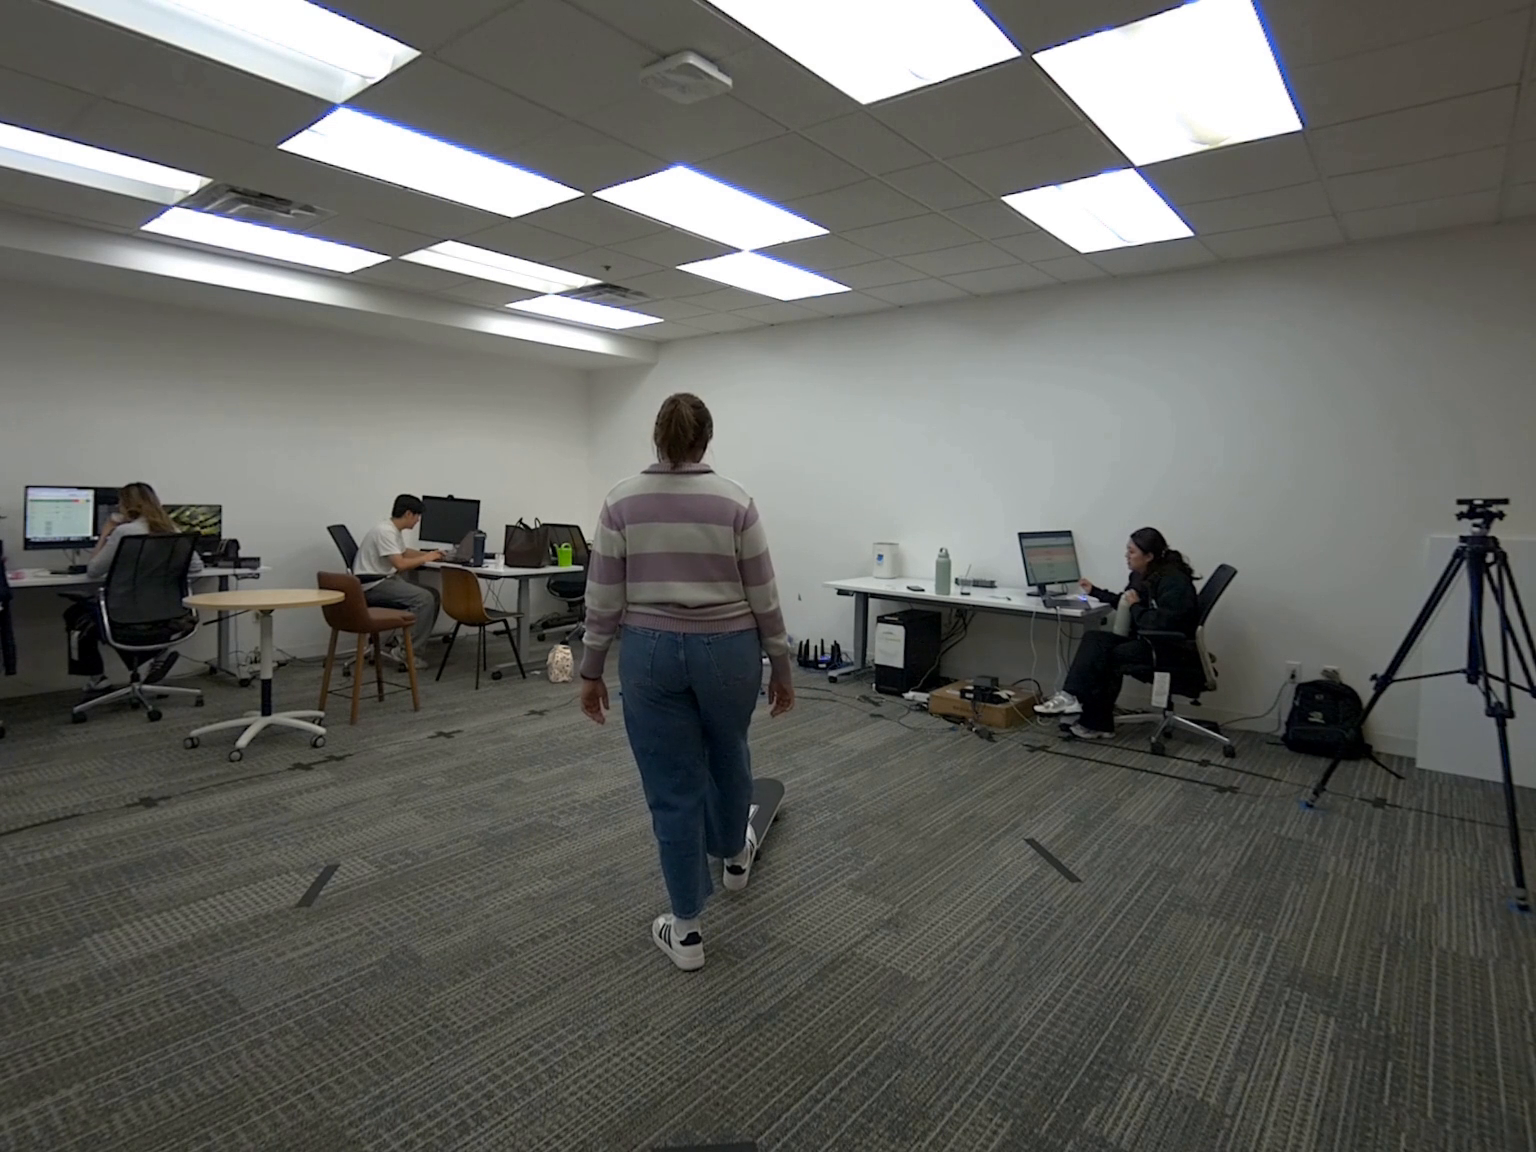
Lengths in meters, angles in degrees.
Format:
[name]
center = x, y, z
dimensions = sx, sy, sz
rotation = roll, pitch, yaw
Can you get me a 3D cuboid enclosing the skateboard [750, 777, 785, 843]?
[skateboard]
center = -0.082, 0.984, 3.419
dimensions = 0.196, 0.110, 0.777
rotation = 2, 6, 12
